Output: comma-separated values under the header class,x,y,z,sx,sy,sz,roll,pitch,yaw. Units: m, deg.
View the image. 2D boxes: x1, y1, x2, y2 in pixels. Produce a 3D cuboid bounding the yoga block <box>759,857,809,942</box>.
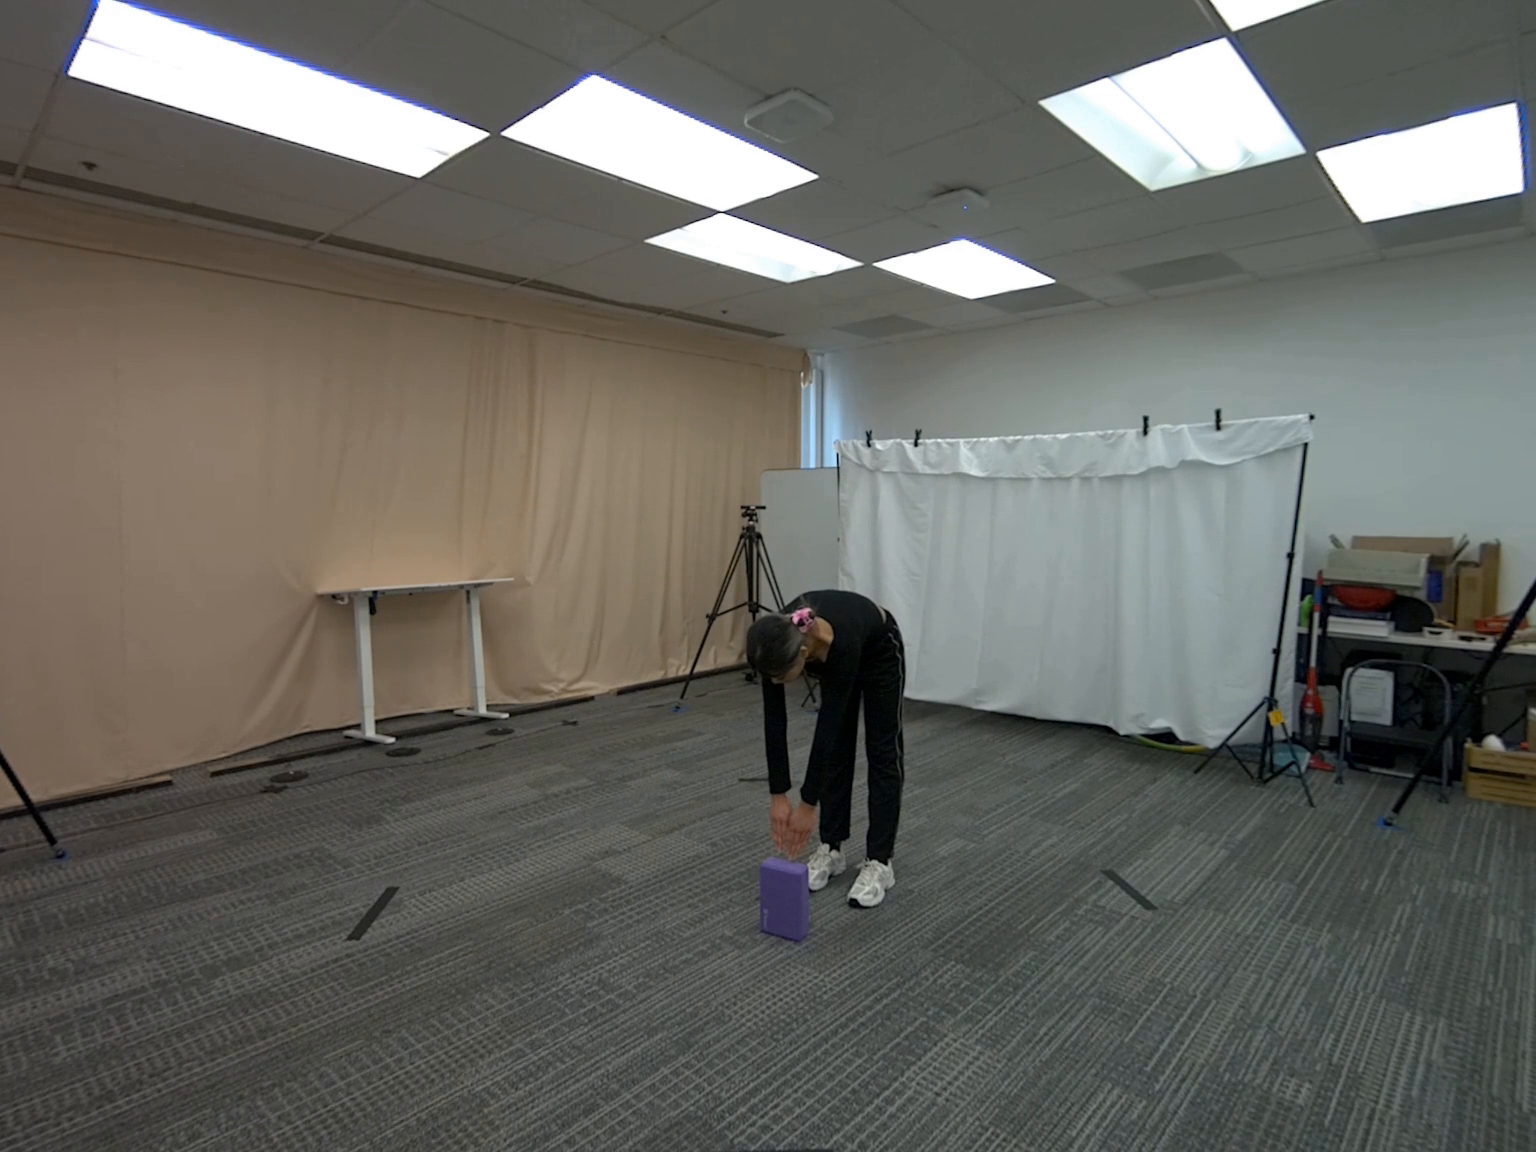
class,x,y,z,sx,sy,sz,roll,pitch,yaw
yoga block,0.058,1.048,2.738,0.153,0.229,0.074,2,3,28
